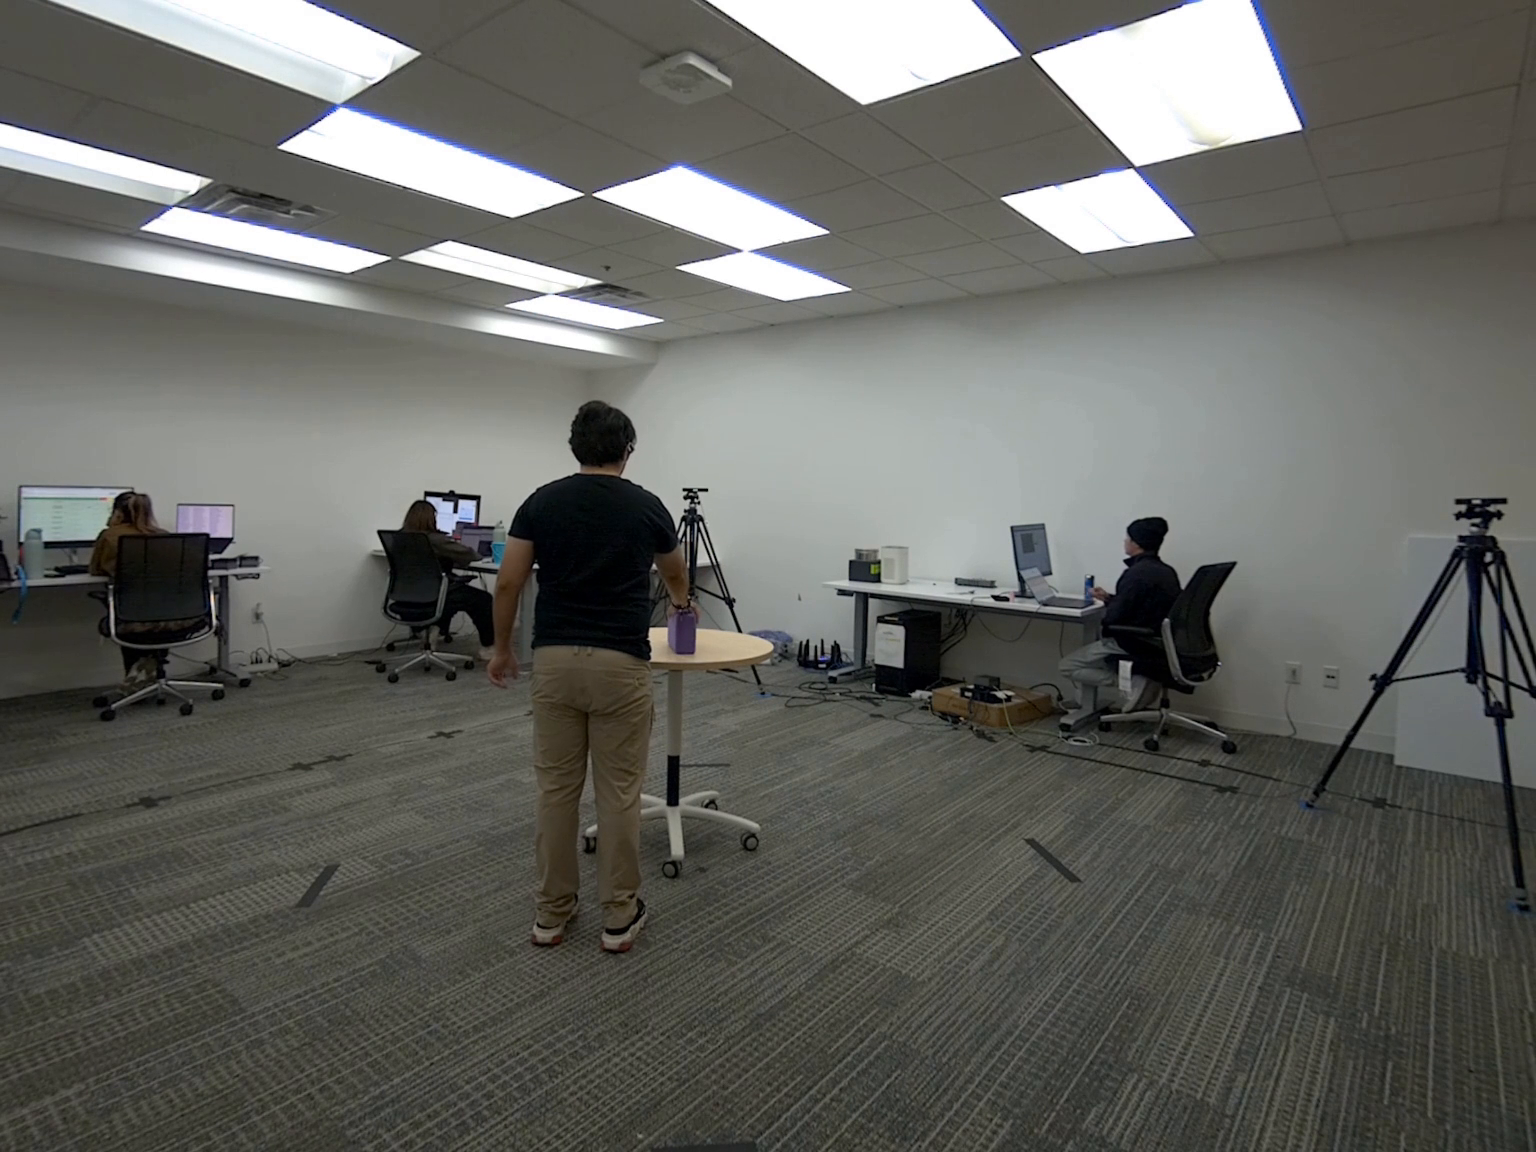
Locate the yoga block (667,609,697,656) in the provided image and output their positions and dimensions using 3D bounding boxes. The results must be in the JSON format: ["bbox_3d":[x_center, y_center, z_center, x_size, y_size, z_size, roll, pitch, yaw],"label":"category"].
[{"bbox_3d":[-0.341,0.198,3.215,0.075,0.148,0.233,2,6,-12],"label":"yoga block"}]
